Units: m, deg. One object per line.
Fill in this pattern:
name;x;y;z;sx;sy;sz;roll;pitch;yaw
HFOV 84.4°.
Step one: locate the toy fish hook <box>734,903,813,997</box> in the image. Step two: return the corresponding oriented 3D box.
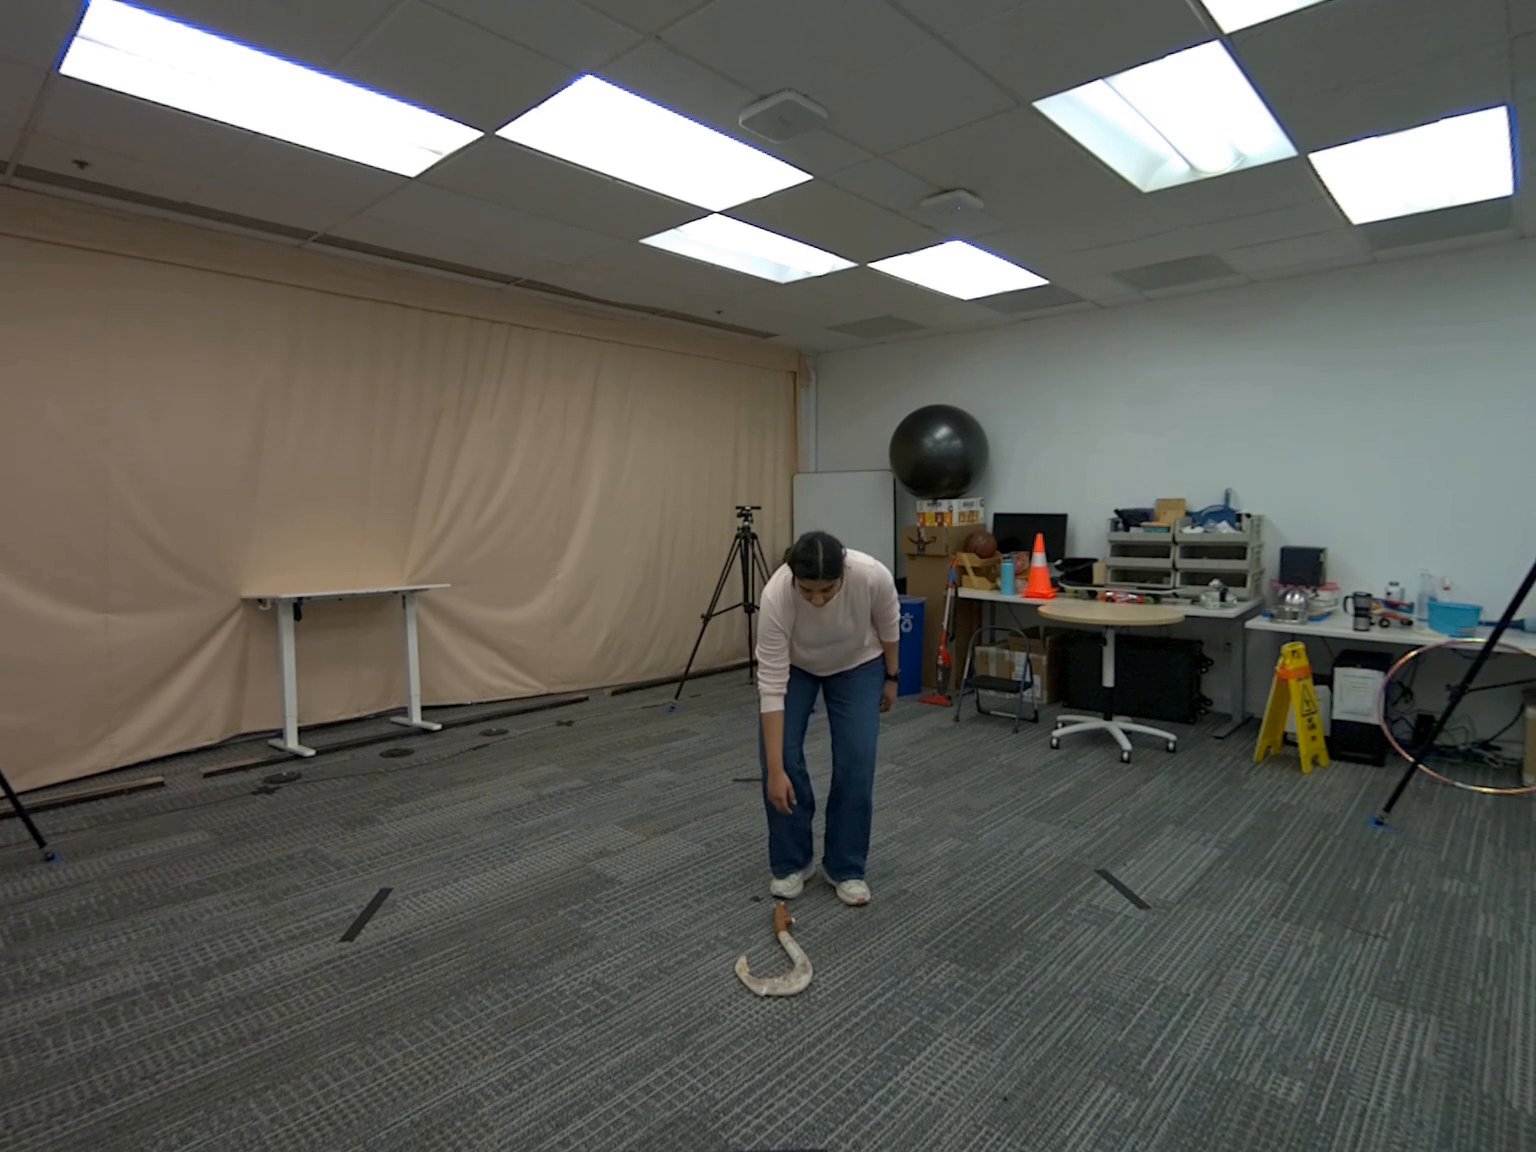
toy fish hook;0.006;1.144;2.625;0.224;0.048;0.509;1;5;-4
